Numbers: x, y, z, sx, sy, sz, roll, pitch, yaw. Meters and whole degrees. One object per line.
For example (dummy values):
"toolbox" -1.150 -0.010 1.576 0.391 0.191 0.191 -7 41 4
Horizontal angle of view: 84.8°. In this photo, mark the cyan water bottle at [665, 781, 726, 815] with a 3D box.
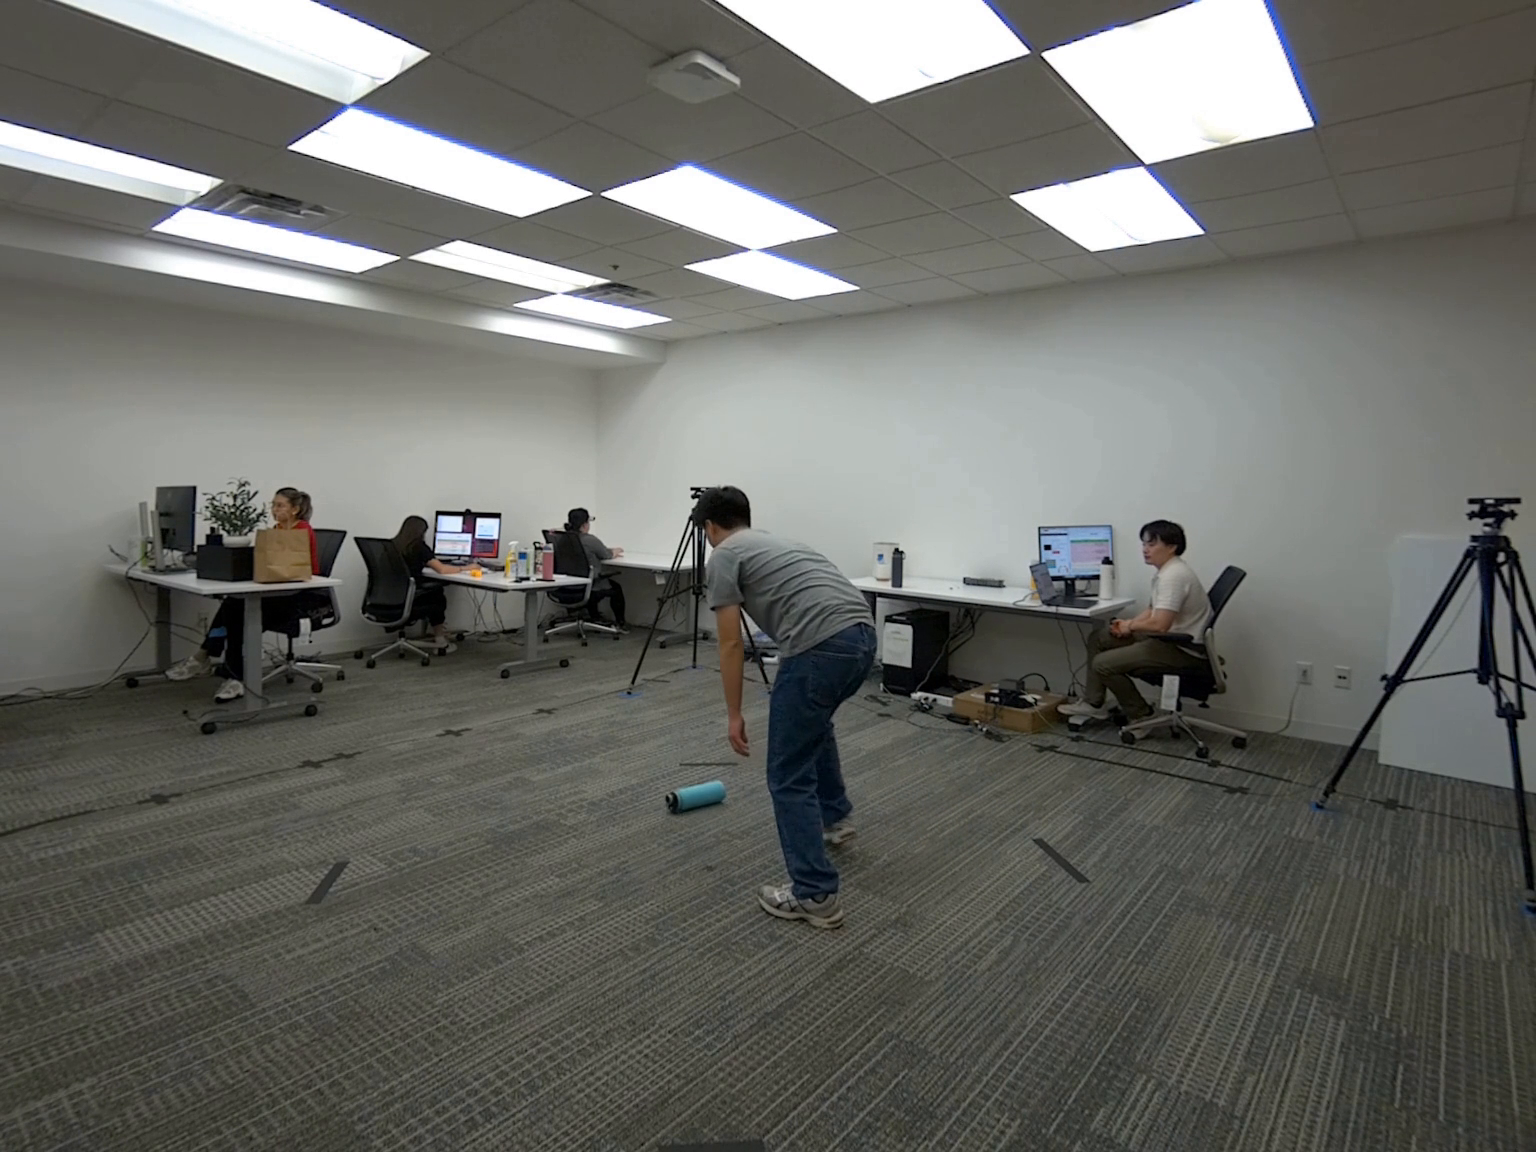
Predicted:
"cyan water bottle" -0.331 0.957 3.703 0.275 0.092 0.095 -4 6 -37
